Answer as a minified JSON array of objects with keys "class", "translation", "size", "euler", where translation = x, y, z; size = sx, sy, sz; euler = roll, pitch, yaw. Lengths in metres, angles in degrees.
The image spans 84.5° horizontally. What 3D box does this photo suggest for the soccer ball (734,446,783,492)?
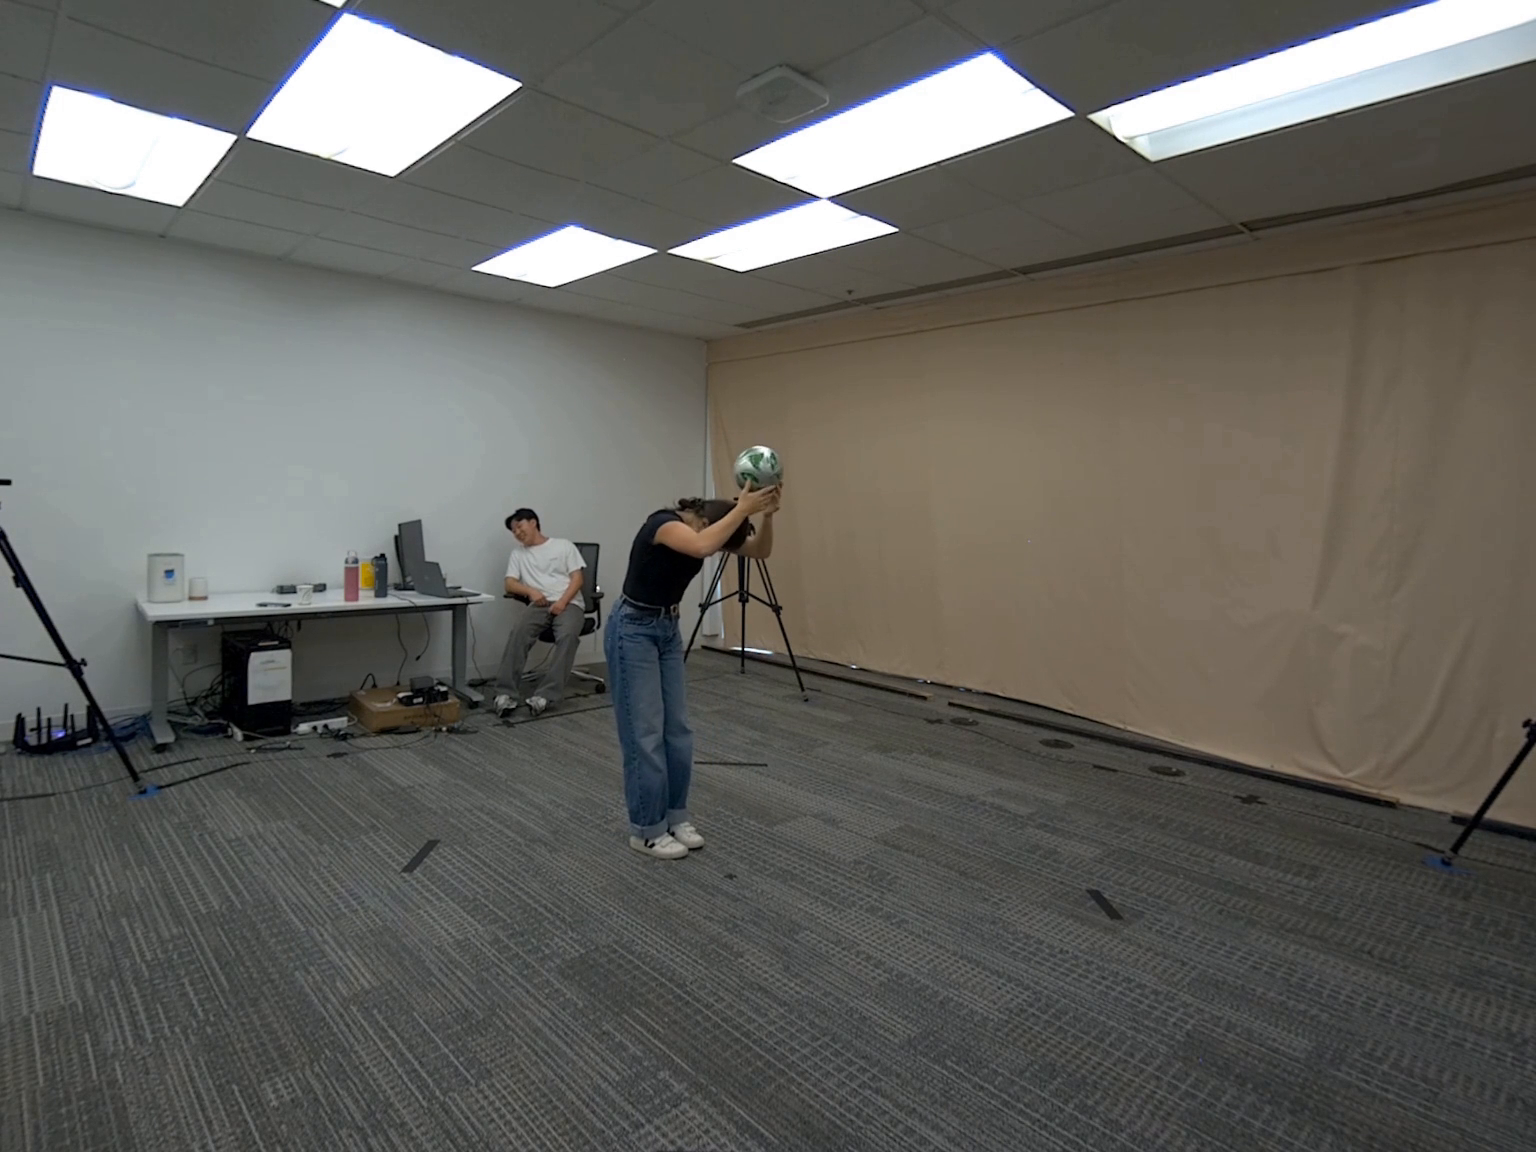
[{"class":"soccer ball","translation":[-0.060,-0.391,3.160],"size":[0.187,0.187,0.188],"euler":[1,4,-1]}]
